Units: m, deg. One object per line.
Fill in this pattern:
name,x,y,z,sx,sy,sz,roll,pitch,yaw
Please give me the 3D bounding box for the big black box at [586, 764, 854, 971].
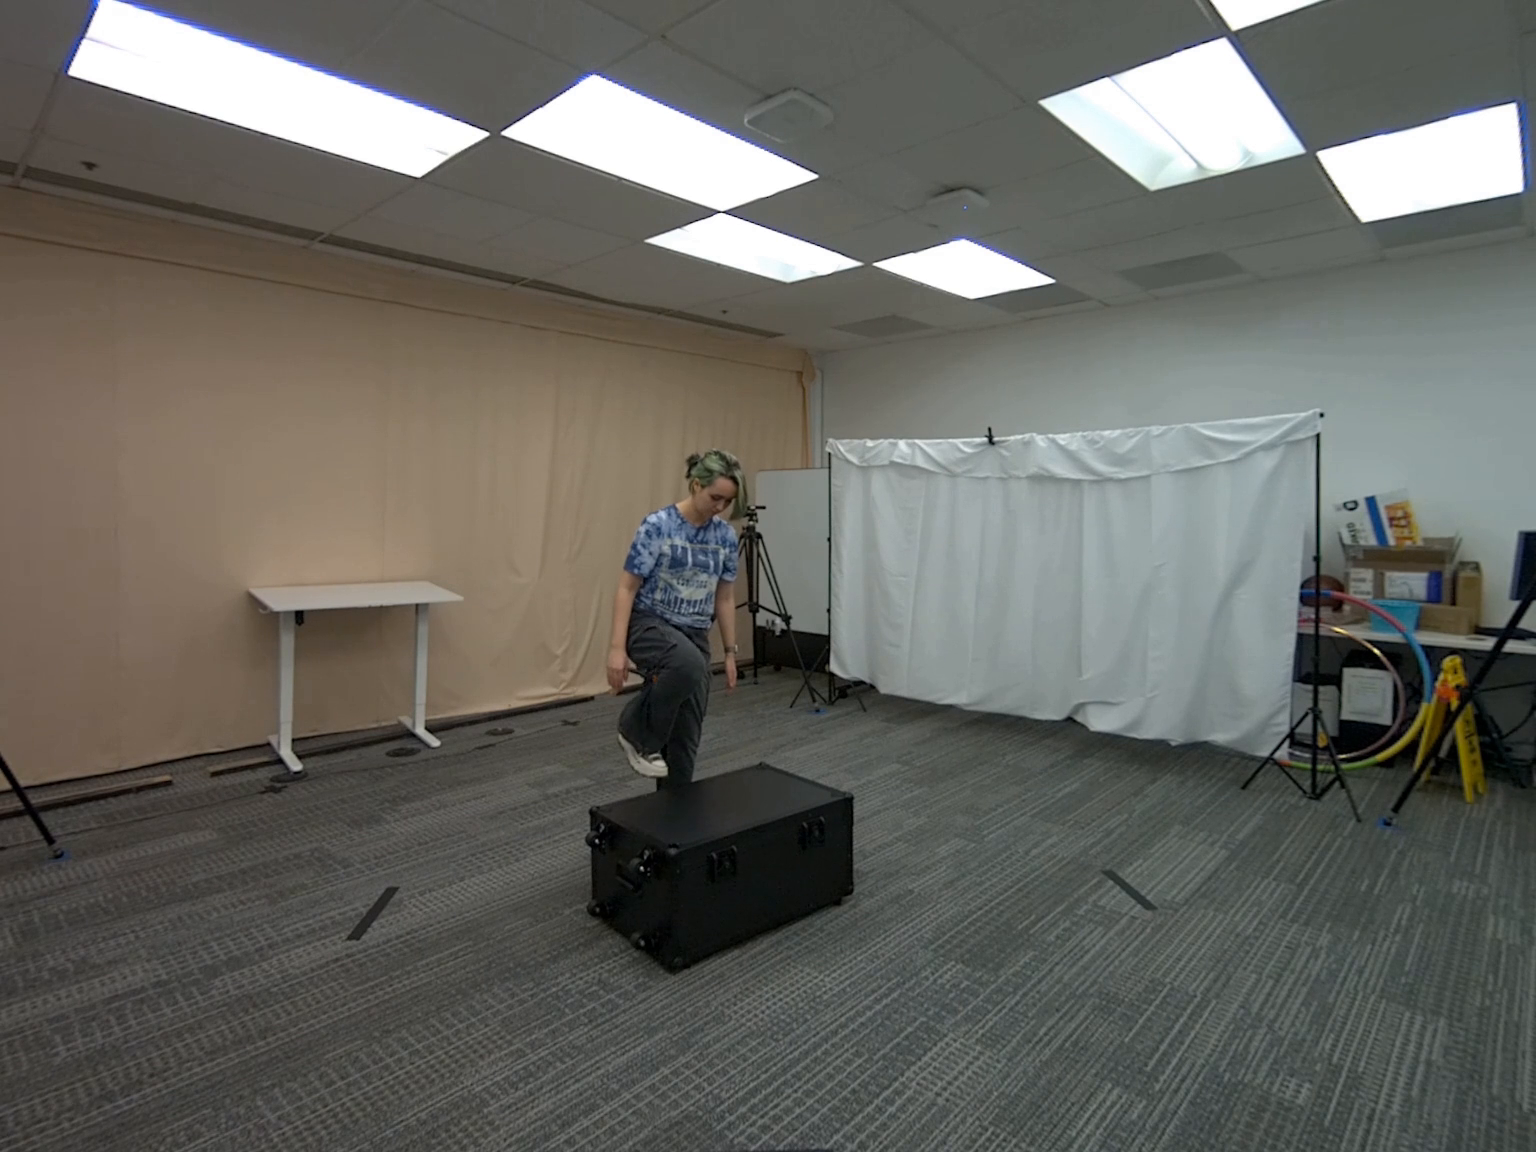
big black box,-0.171,0.964,2.883,0.835,0.395,0.538,-3,5,-40
